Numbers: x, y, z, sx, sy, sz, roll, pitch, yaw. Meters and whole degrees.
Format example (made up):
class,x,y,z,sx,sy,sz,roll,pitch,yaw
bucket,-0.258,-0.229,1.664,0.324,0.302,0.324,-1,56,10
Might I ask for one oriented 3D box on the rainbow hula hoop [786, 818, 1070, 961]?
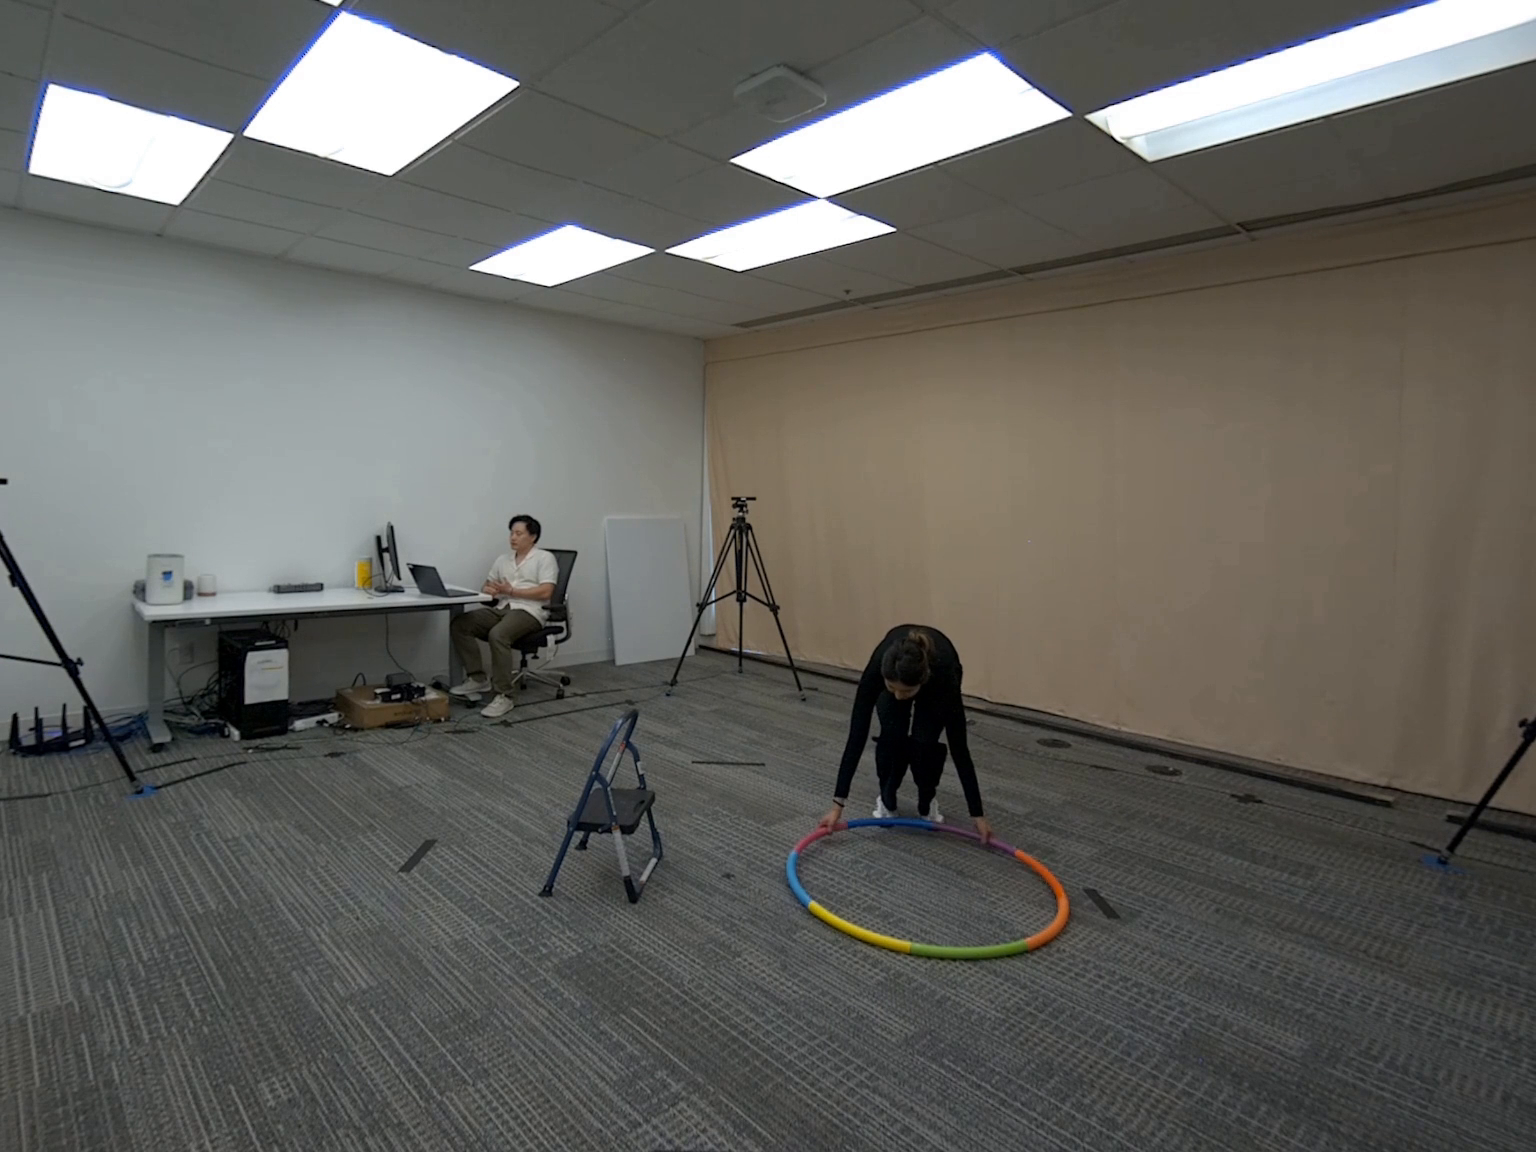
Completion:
class,x,y,z,sx,sy,sz,roll,pitch,yaw
rainbow hula hoop,0.550,1.080,3.053,0.978,0.035,0.984,1,8,-1
